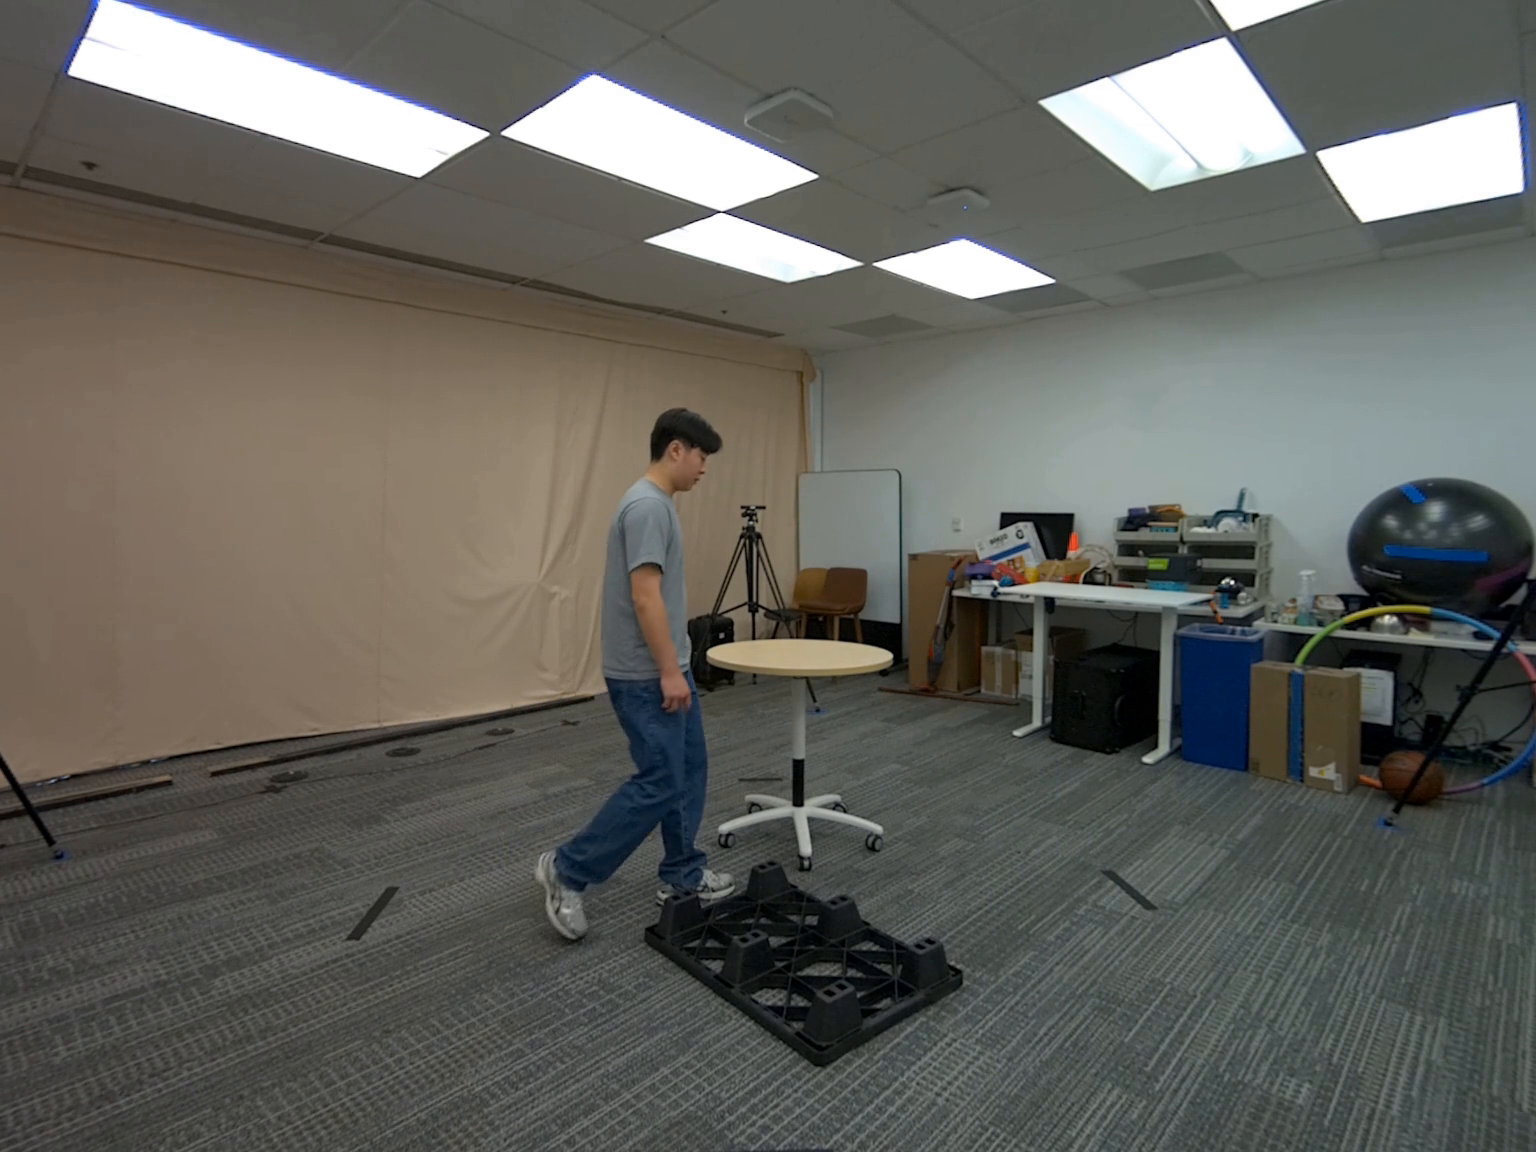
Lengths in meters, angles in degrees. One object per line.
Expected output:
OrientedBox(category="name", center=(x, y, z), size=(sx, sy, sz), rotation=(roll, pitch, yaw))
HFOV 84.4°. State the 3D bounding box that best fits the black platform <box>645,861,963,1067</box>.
OrientedBox(category="black platform", center=(0.096, 1.113, 2.567), size=(0.587, 0.143, 0.832), rotation=(-5, 7, -40))
